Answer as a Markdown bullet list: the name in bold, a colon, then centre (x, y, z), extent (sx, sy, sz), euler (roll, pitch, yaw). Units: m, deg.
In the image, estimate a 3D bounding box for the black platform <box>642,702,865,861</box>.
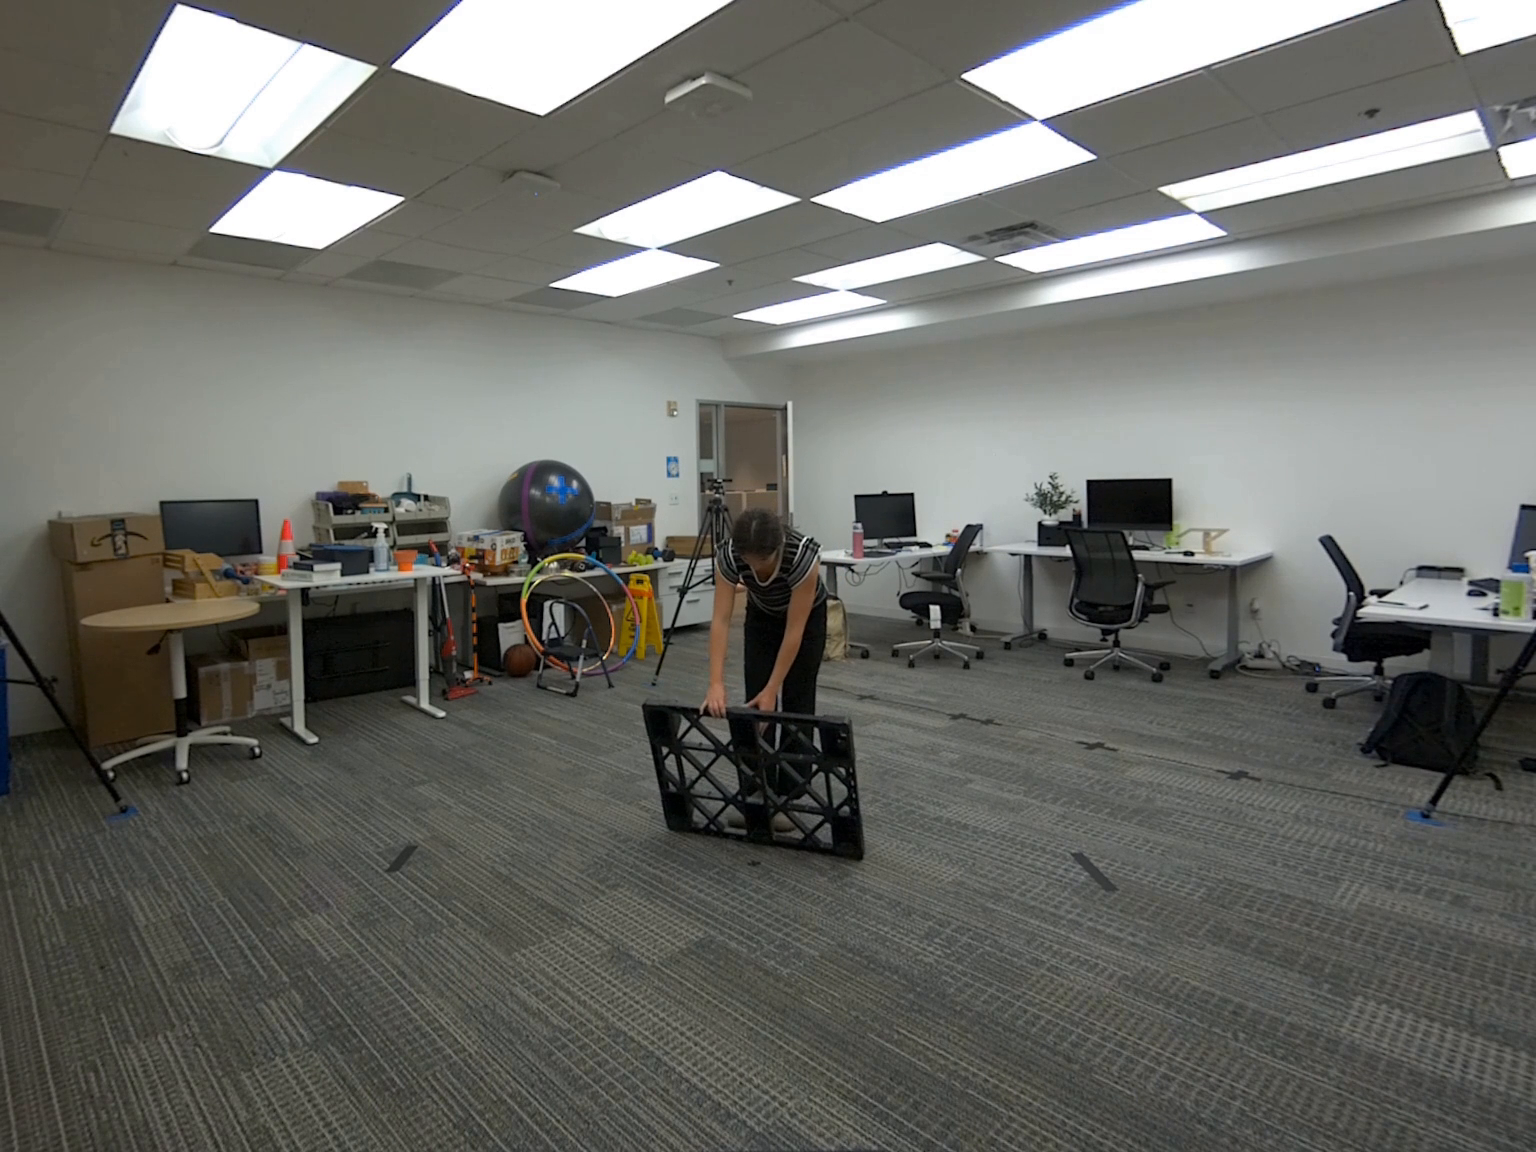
- **black platform**: centre (-0.045, 0.733, 3.206), extent (0.822, 0.592, 0.143), euler (2, 25, 22)
